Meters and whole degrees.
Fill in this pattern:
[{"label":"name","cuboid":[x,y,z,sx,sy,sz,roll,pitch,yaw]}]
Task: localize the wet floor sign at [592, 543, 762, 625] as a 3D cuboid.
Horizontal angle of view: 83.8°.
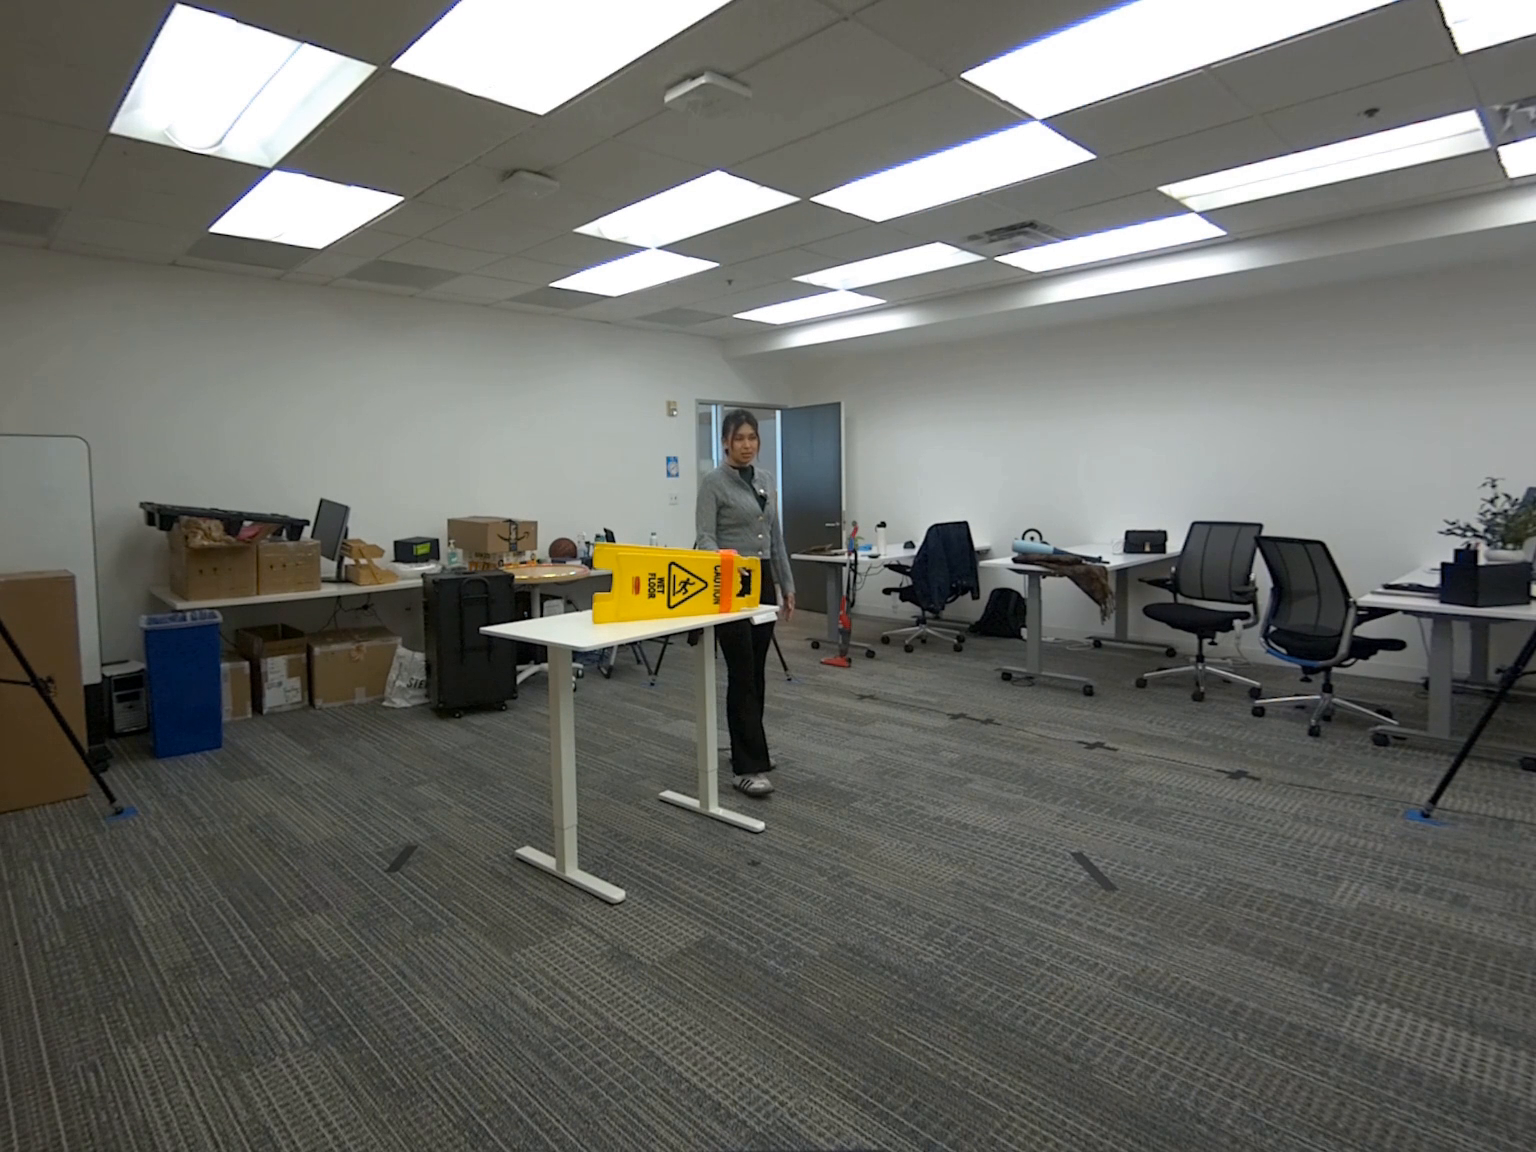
[{"label":"wet floor sign","cuboid":[-0.348,0.024,3.292,0.641,0.281,0.293,1,5,-8]}]
